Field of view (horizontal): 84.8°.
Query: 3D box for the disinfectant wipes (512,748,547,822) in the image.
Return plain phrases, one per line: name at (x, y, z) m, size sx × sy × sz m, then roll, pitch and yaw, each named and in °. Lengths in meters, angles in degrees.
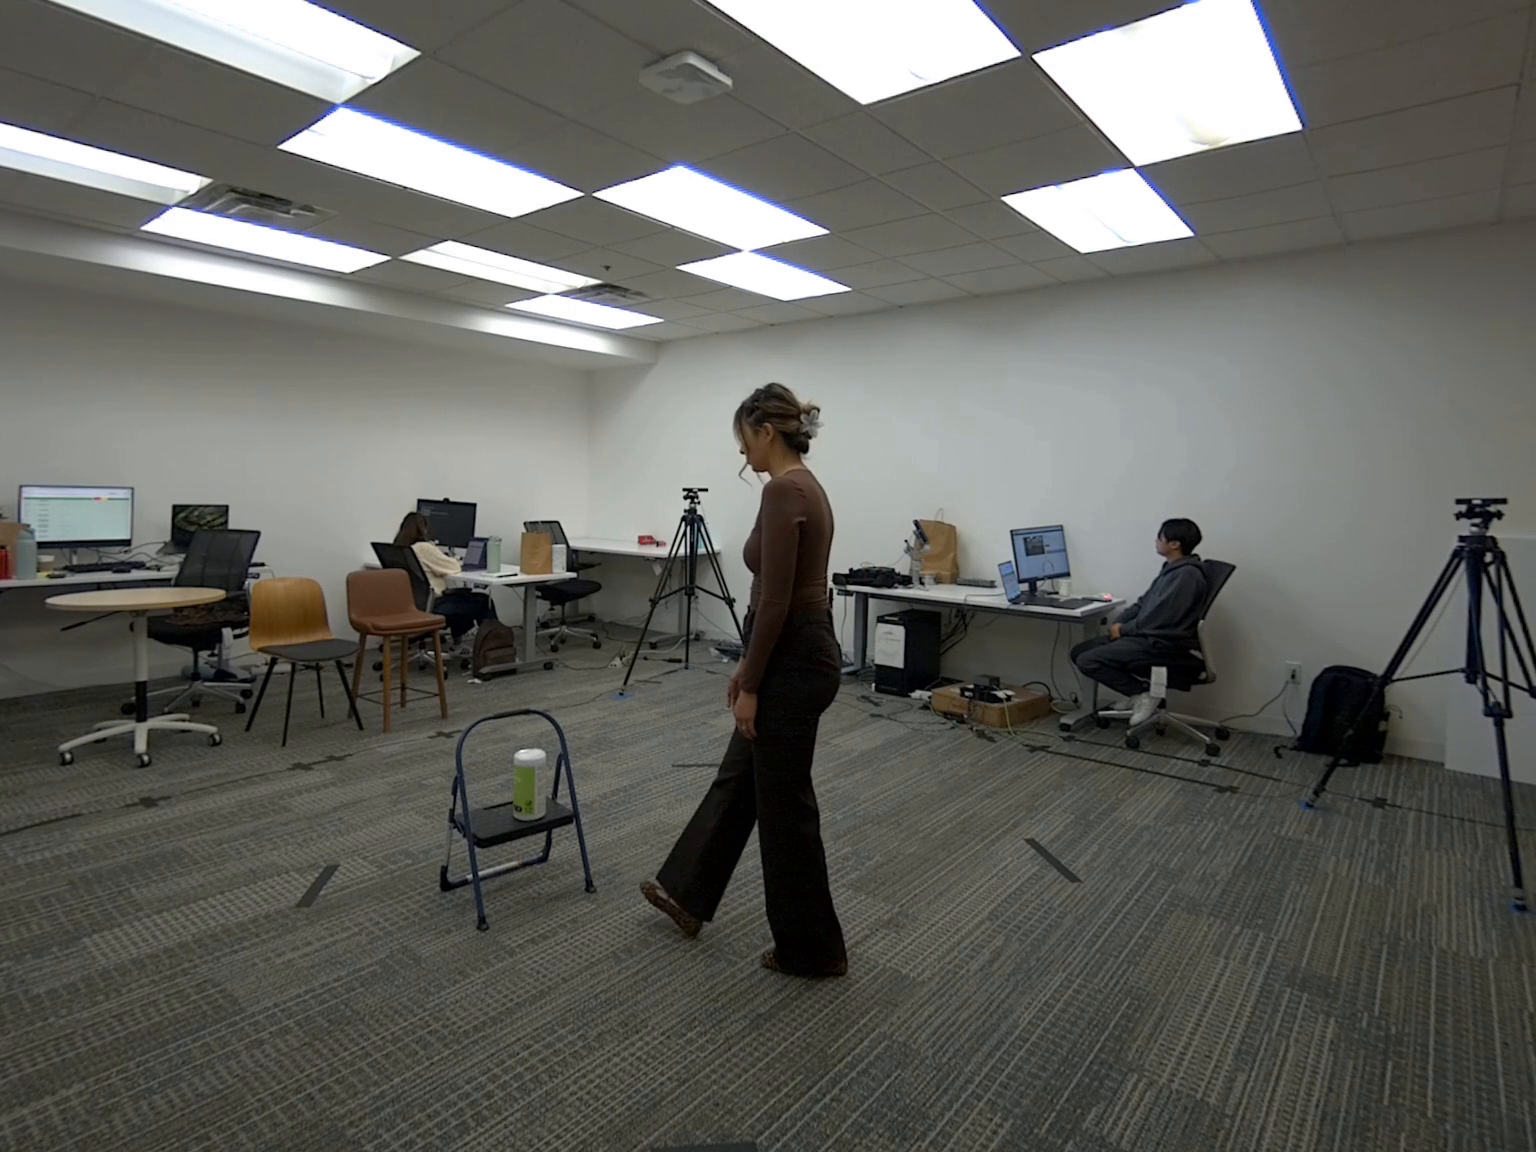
disinfectant wipes at (-0.833, 0.714, 2.911) m, size 0.118 × 0.216 × 0.118 m, roll 0°, pitch 6°, yaw -2°
